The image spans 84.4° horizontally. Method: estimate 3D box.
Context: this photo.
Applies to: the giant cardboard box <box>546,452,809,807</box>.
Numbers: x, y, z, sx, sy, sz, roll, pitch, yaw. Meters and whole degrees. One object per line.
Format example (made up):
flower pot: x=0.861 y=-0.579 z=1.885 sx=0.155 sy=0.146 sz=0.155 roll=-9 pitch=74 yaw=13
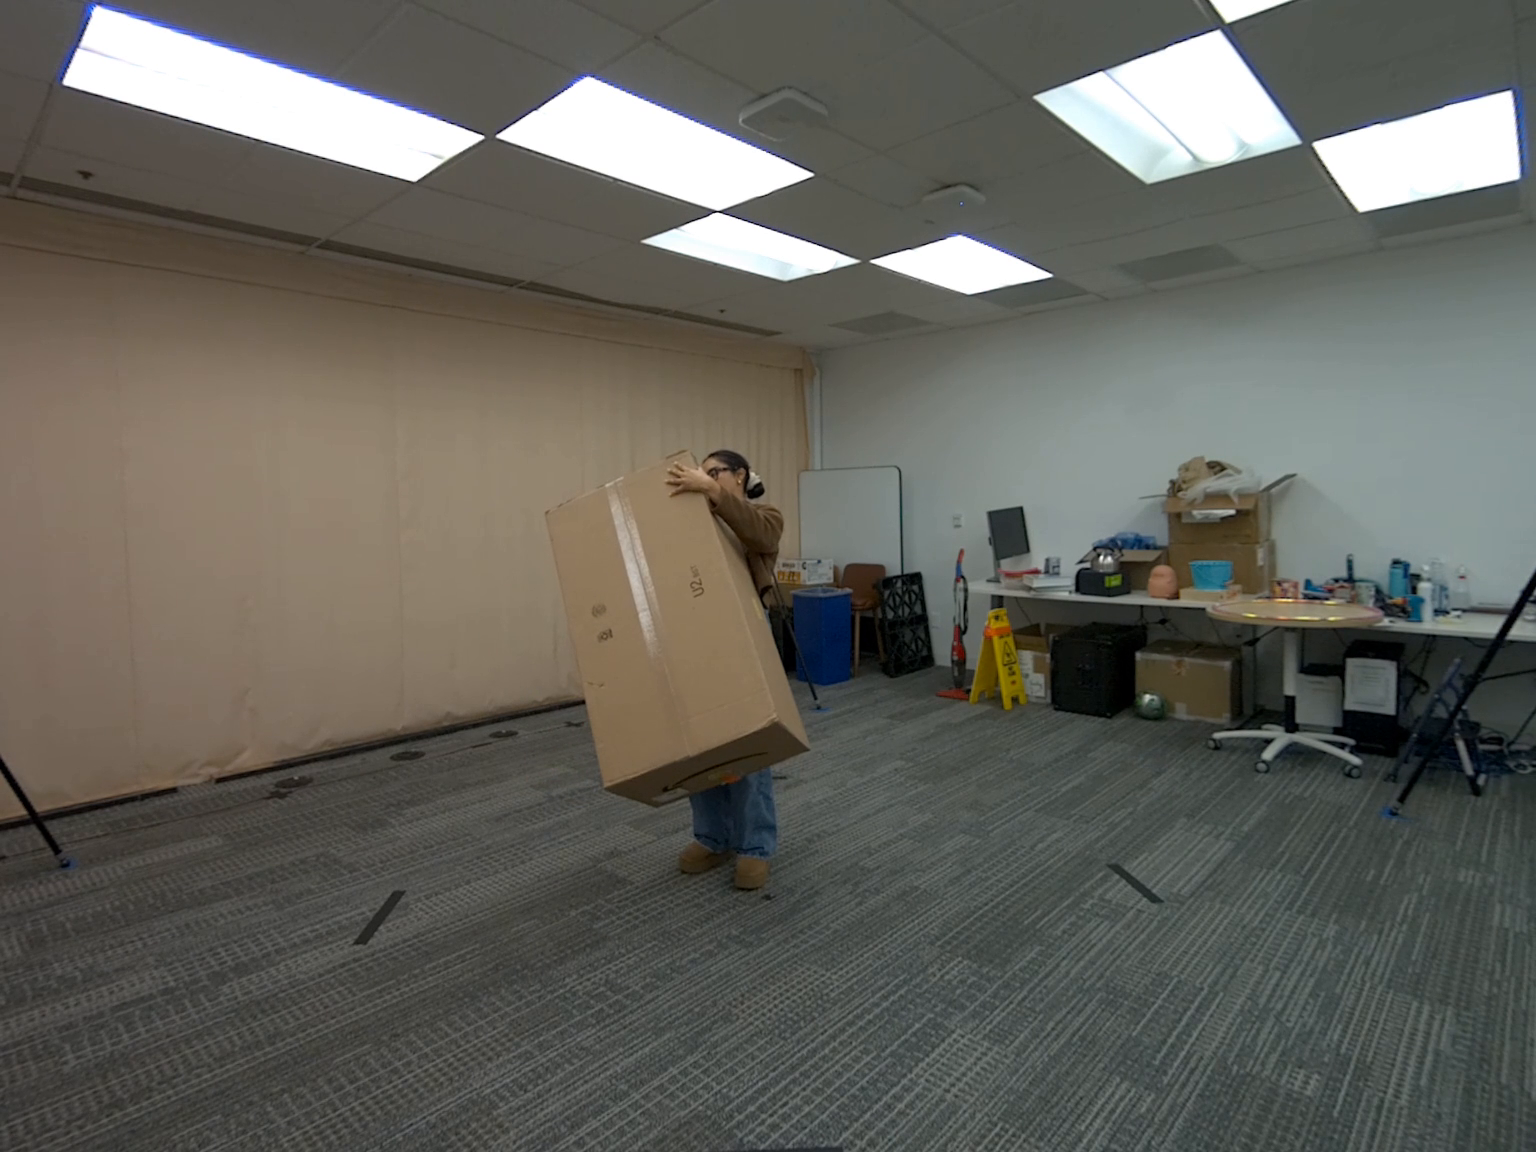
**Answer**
giant cardboard box: x=-0.329 y=0.178 z=2.889 sx=0.581 sy=1.050 sz=0.413 roll=-23 pitch=-28 yaw=8
